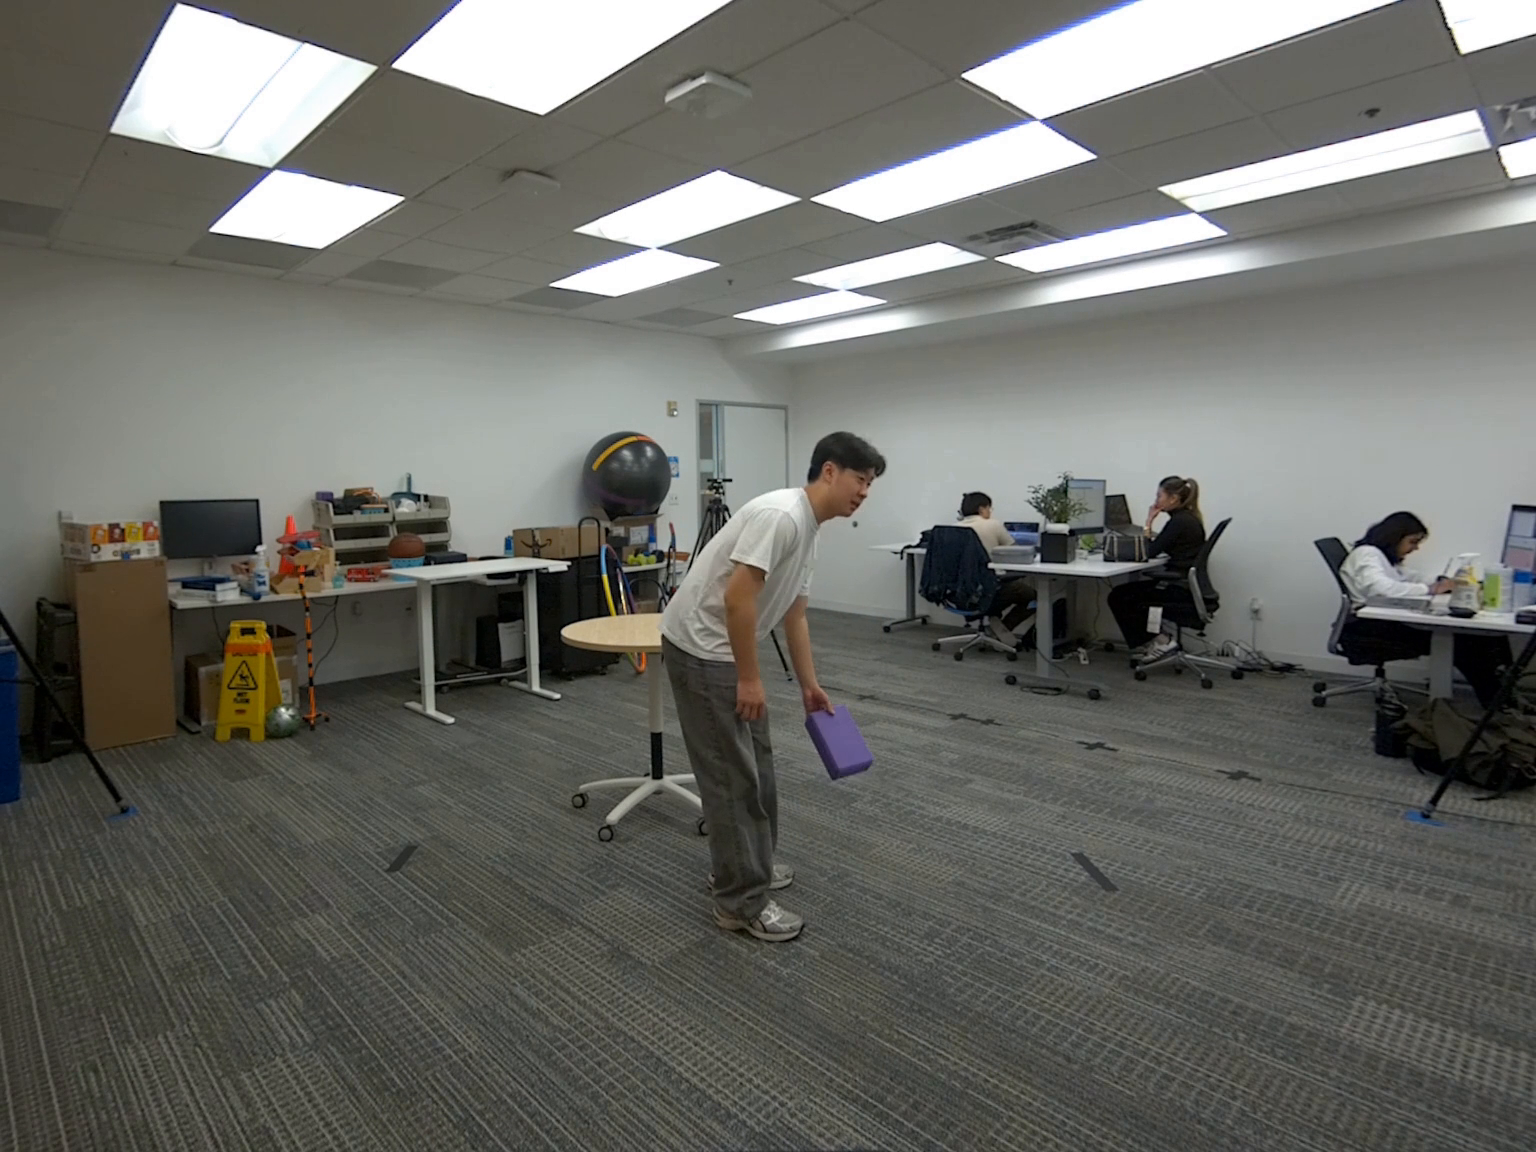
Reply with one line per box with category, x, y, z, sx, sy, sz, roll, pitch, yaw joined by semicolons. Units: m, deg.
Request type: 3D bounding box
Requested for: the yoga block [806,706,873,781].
yoga block;0.248;0.572;2.925;0.146;0.237;0.075;-9;-39;-26
